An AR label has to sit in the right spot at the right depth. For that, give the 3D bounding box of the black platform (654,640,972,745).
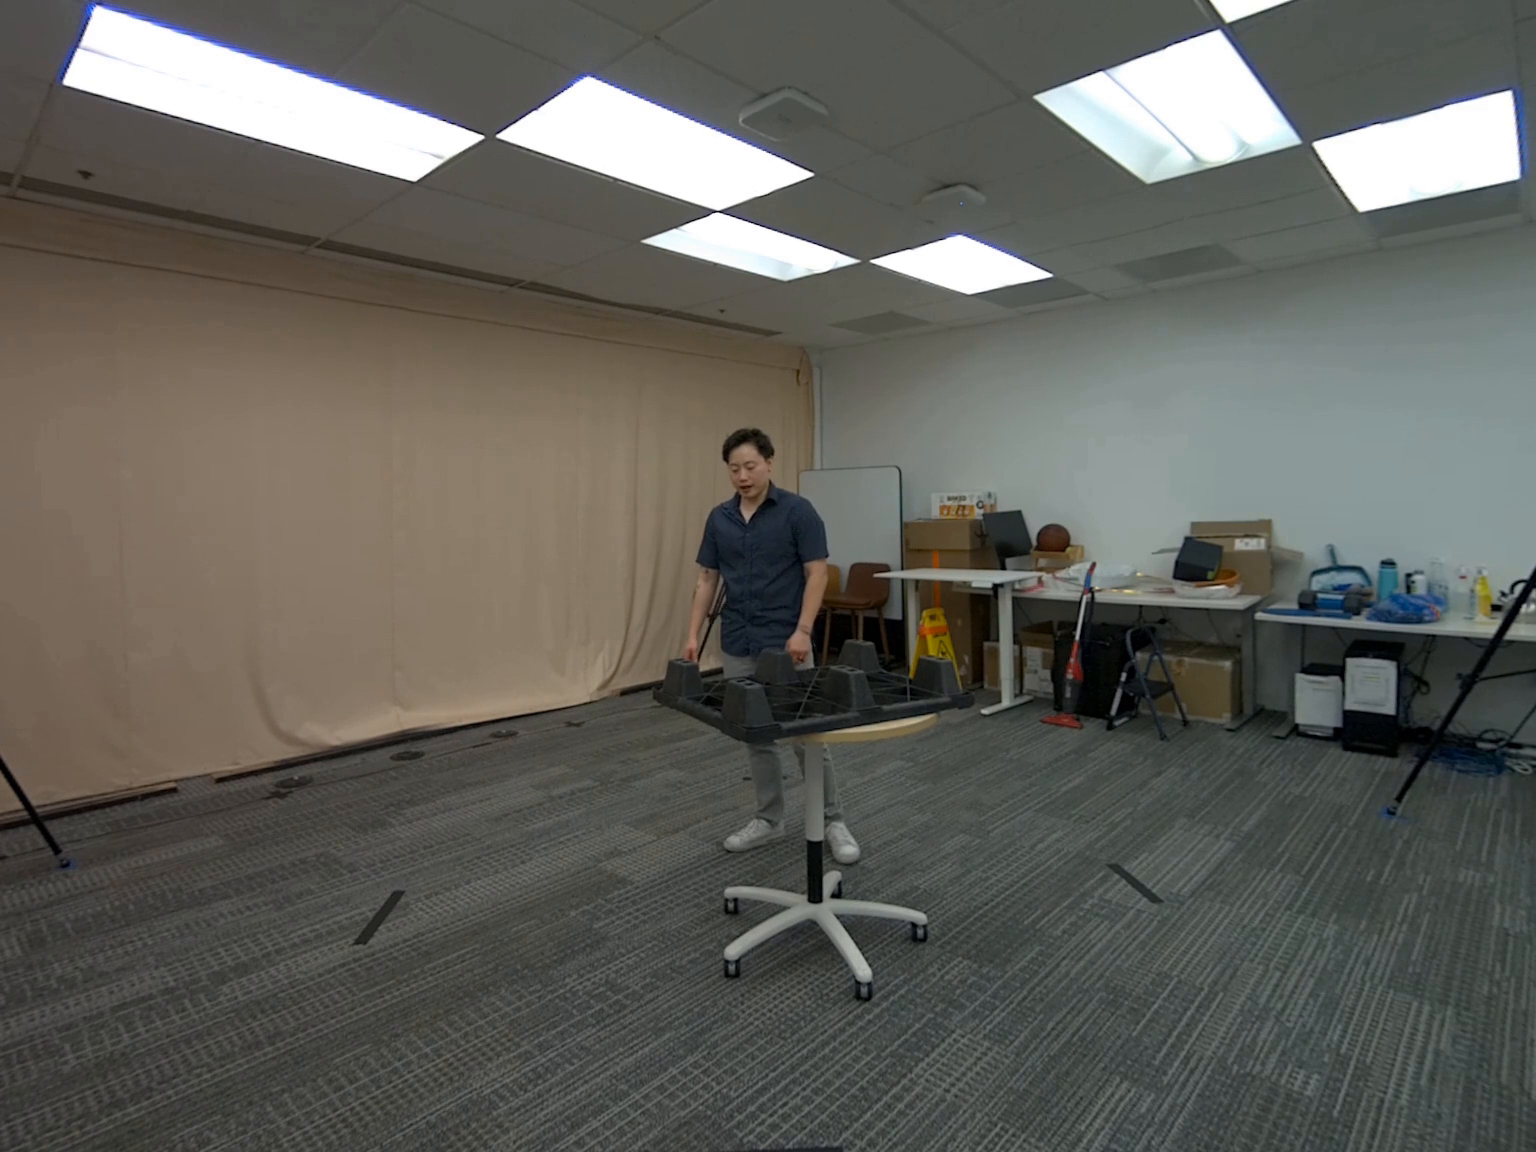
[{"bbox_3d":[0.135,0.324,2.570,0.784,0.143,0.623,-3,5,-31],"label":"black platform"}]
